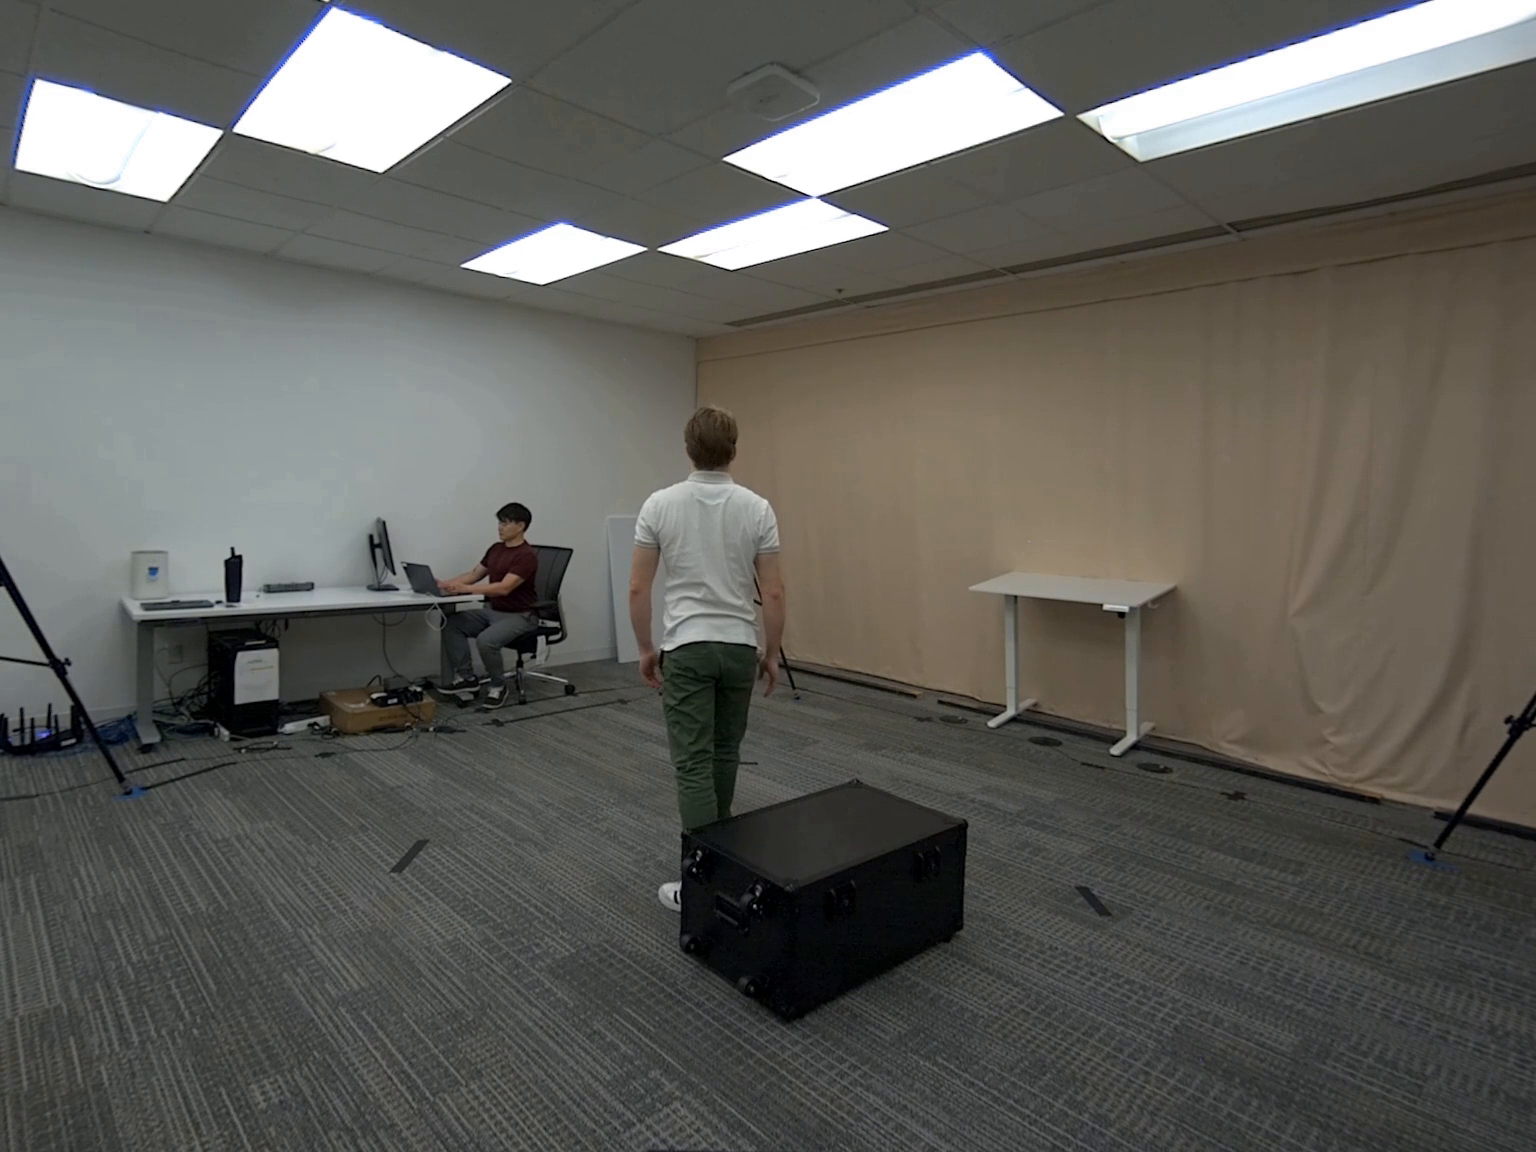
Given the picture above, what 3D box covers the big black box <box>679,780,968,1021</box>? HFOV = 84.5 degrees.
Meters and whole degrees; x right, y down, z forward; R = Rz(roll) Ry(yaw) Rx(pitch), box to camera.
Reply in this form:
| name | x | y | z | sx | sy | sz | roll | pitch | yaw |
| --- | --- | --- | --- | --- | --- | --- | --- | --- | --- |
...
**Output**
| name | x | y | z | sx | sy | sz | roll | pitch | yaw |
| --- | --- | --- | --- | --- | --- | --- | --- | --- | --- |
| big black box | 0.150 | 0.961 | 2.609 | 0.849 | 0.384 | 0.537 | -3 | 8 | -41 |
